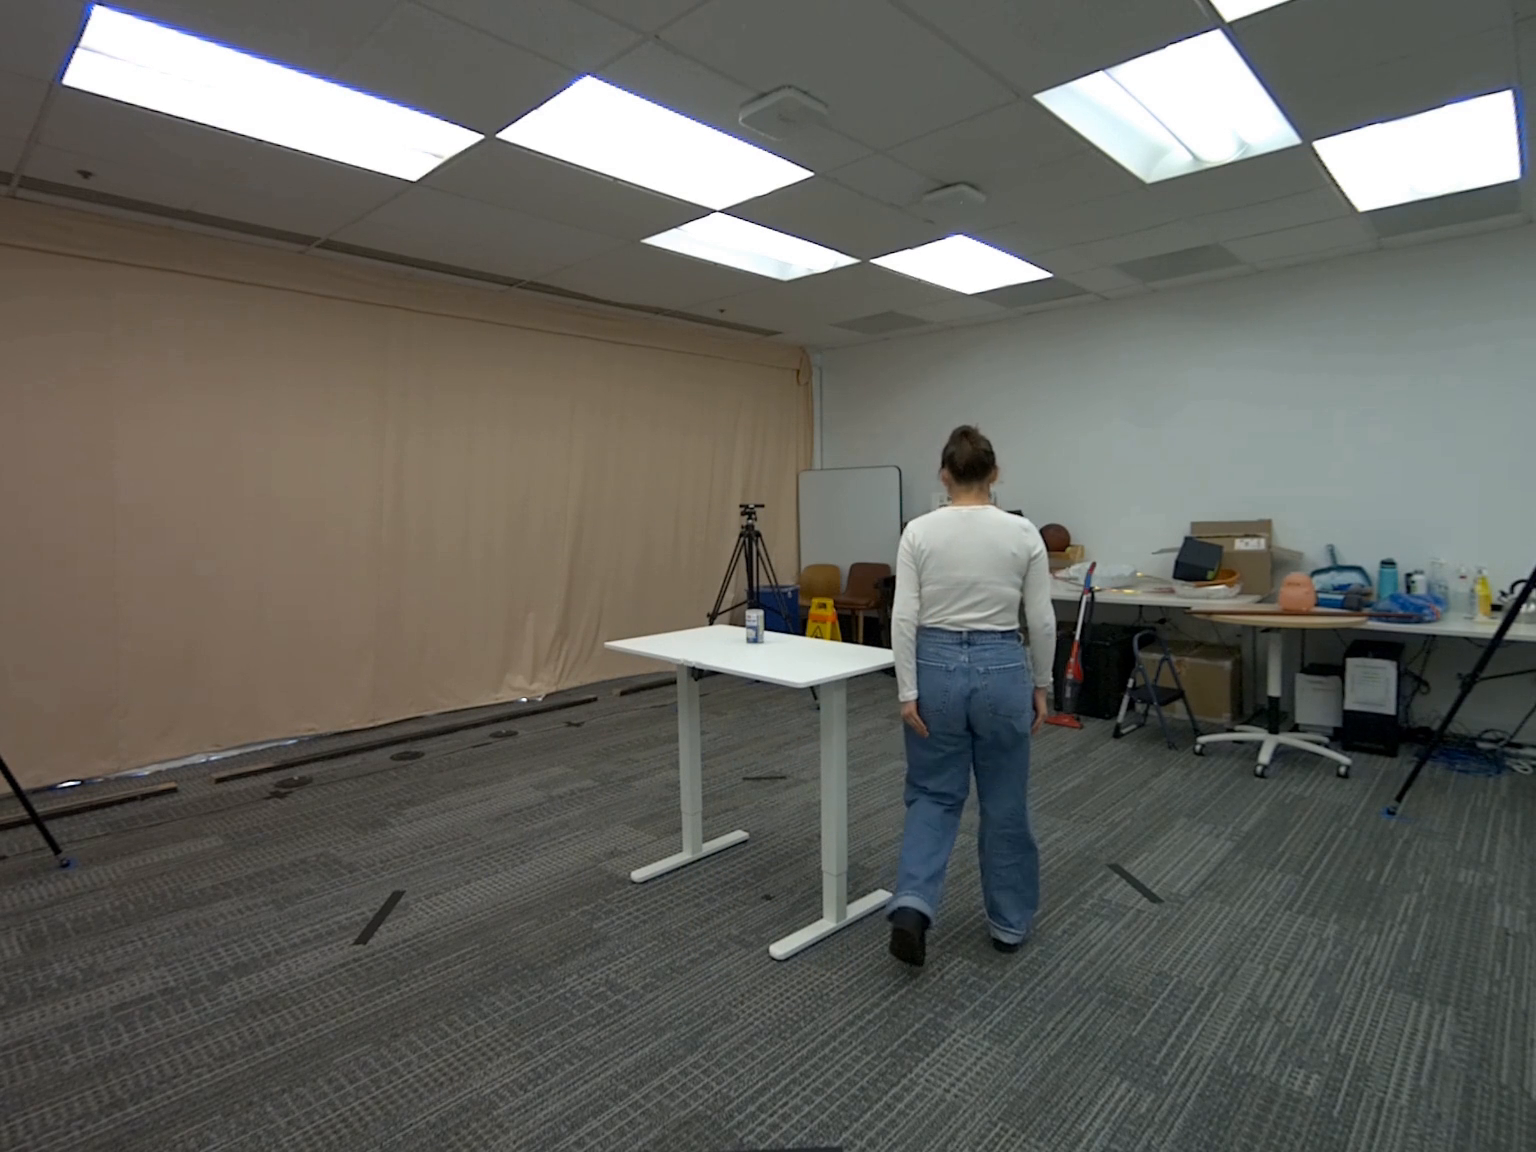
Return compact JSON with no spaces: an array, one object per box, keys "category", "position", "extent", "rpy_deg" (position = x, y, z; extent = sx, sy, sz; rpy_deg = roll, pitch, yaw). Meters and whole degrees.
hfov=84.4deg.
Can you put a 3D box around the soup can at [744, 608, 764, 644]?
[{"category":"soup can","position":[-0.042,0.191,3.106],"extent":[0.067,0.121,0.067],"rpy_deg":[1,6,-2]}]
